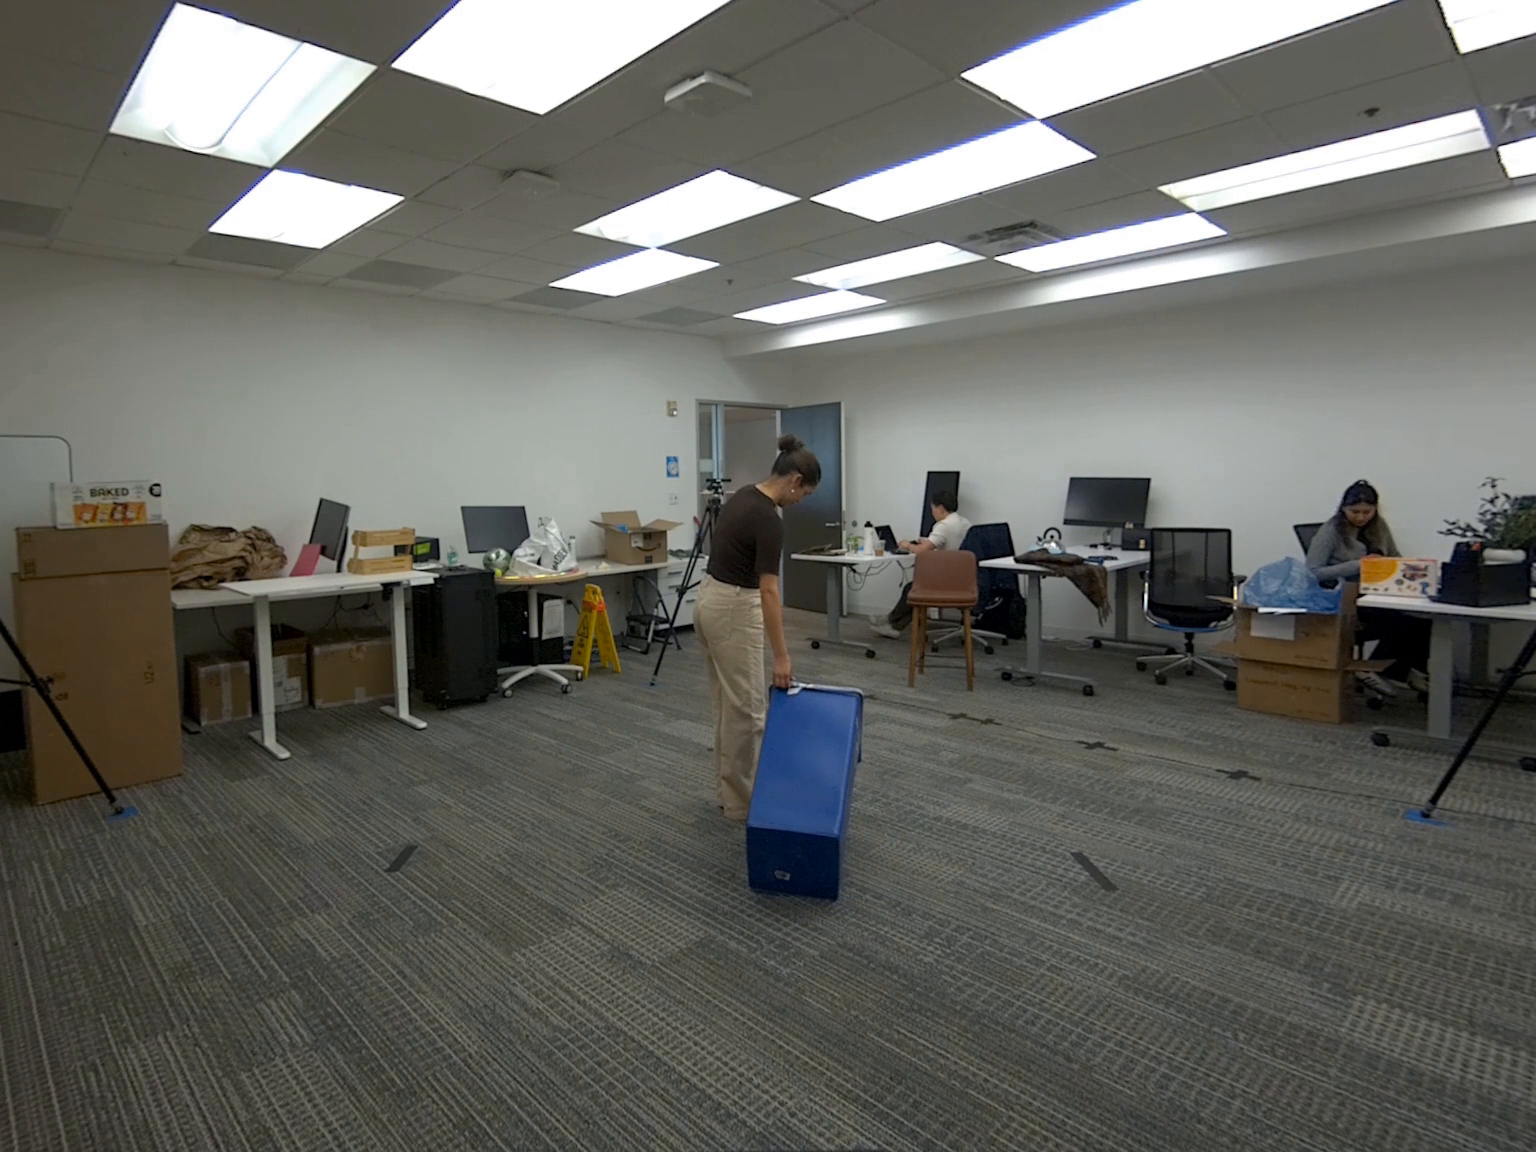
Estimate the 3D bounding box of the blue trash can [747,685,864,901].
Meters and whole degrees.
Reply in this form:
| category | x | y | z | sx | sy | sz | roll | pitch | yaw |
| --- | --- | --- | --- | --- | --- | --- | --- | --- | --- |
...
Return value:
| category | x | y | z | sx | sy | sz | roll | pitch | yaw |
| --- | --- | --- | --- | --- | --- | --- | --- | --- | --- |
| blue trash can | 0.148 | 0.757 | 3.086 | 0.381 | 0.365 | 0.725 | 2 | 31 | 8 |
